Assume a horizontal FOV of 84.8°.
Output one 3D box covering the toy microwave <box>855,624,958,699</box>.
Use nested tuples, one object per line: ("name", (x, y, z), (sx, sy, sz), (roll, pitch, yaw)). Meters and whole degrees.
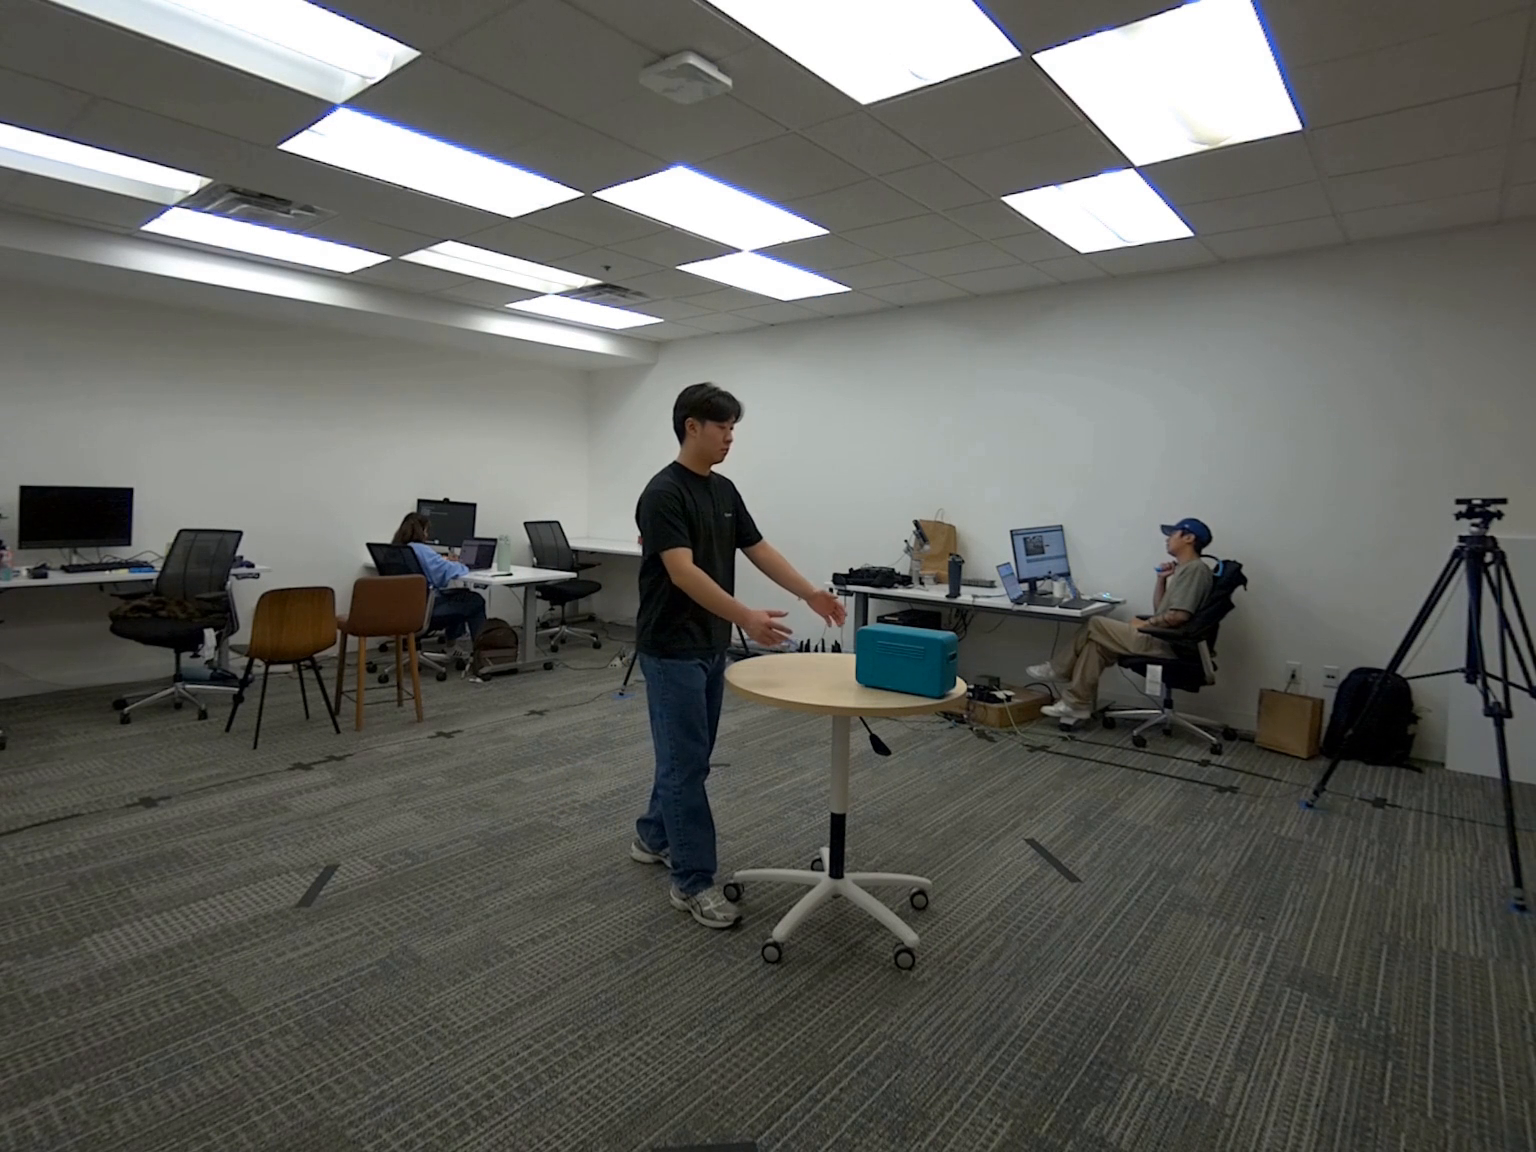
("toy microwave", (0.421, 0.249, 2.580), (0.295, 0.183, 0.148), (4, 5, 33))
